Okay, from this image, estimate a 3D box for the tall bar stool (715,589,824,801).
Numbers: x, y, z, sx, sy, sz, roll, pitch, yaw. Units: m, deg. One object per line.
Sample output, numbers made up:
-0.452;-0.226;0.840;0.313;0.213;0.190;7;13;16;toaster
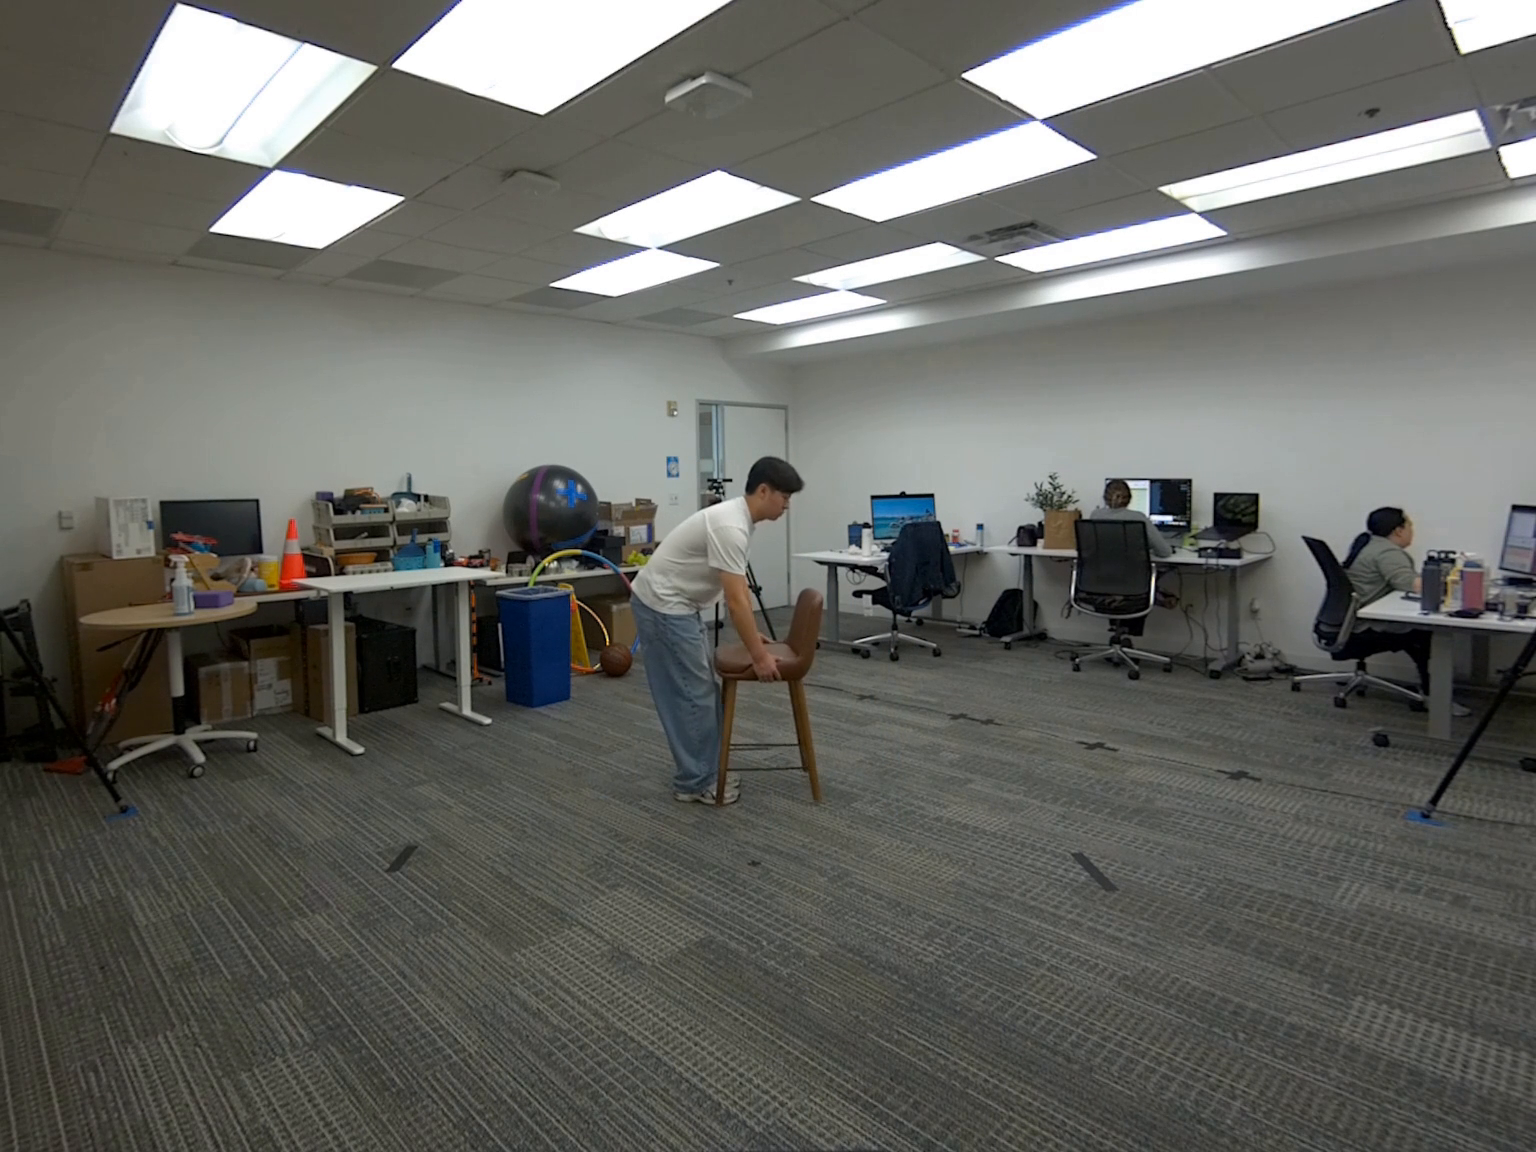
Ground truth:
-0.009;0.510;3.804;0.466;0.887;0.459;1;3;-4;tall bar stool
